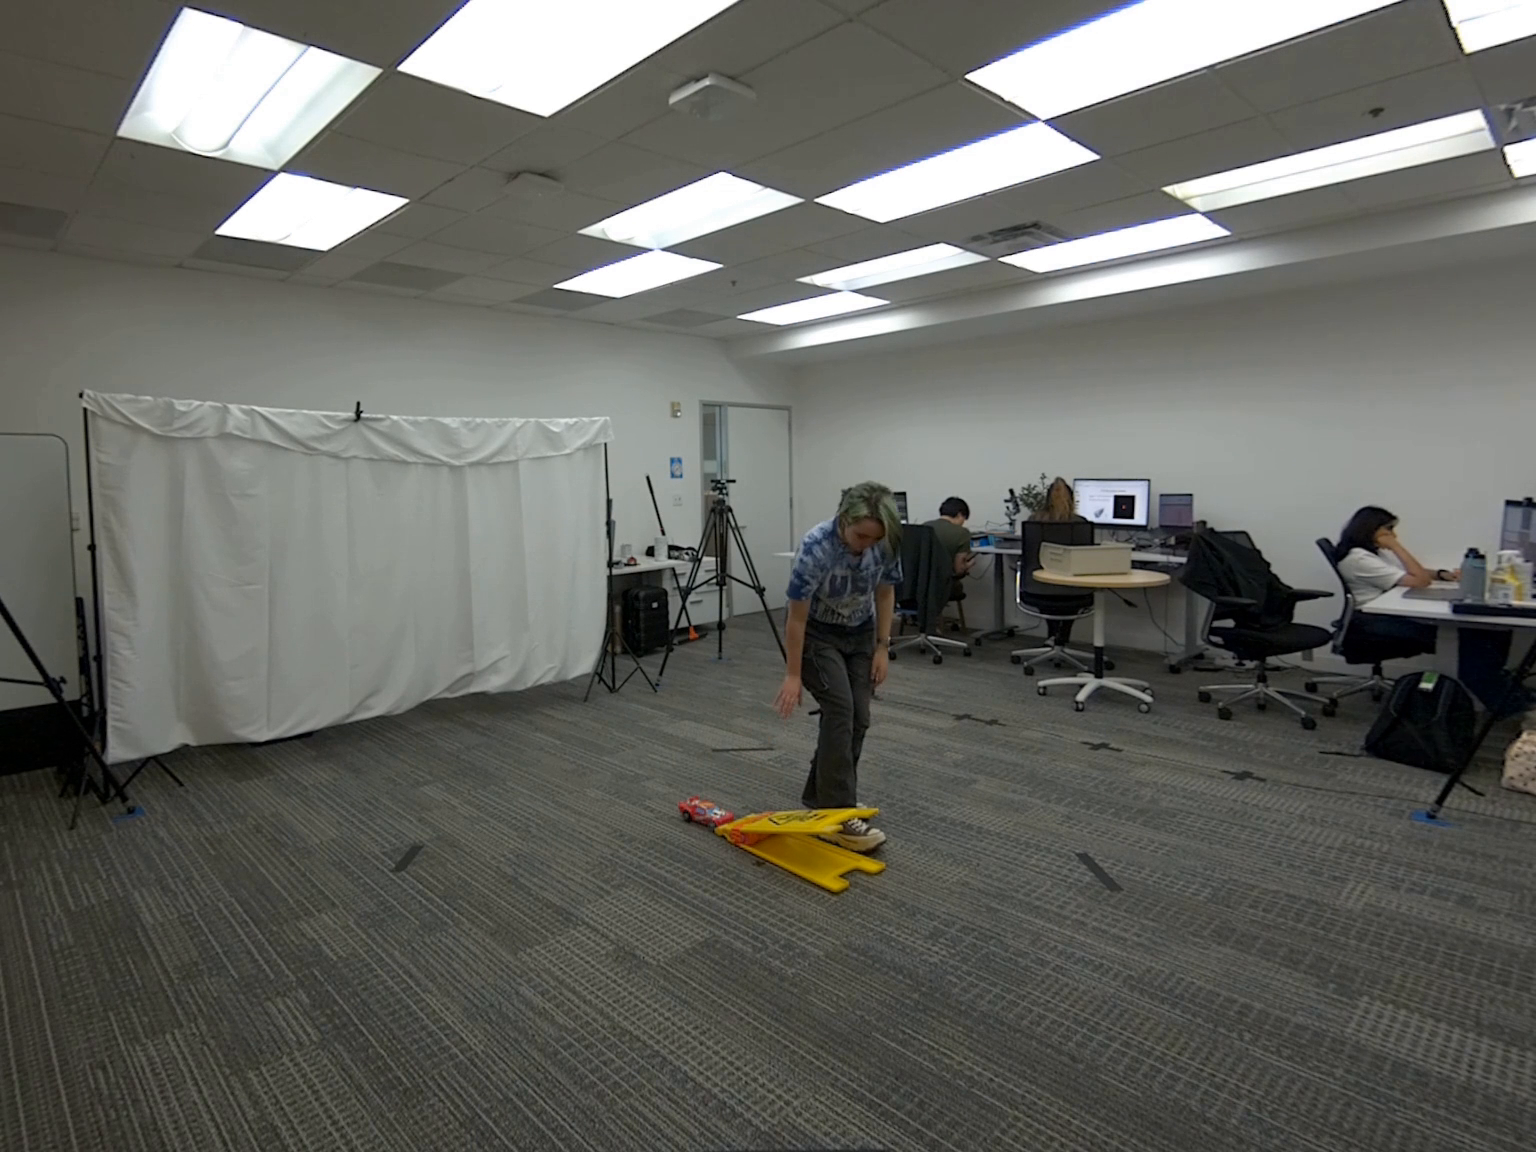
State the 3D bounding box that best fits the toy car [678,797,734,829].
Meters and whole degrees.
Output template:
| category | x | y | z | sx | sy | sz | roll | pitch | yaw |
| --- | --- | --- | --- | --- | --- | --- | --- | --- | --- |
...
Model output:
| category | x | y | z | sx | sy | sz | roll | pitch | yaw |
| --- | --- | --- | --- | --- | --- | --- | --- | --- | --- |
| toy car | -0.260 | 0.972 | 3.505 | 0.264 | 0.082 | 0.127 | 18 | 16 | 41 |
